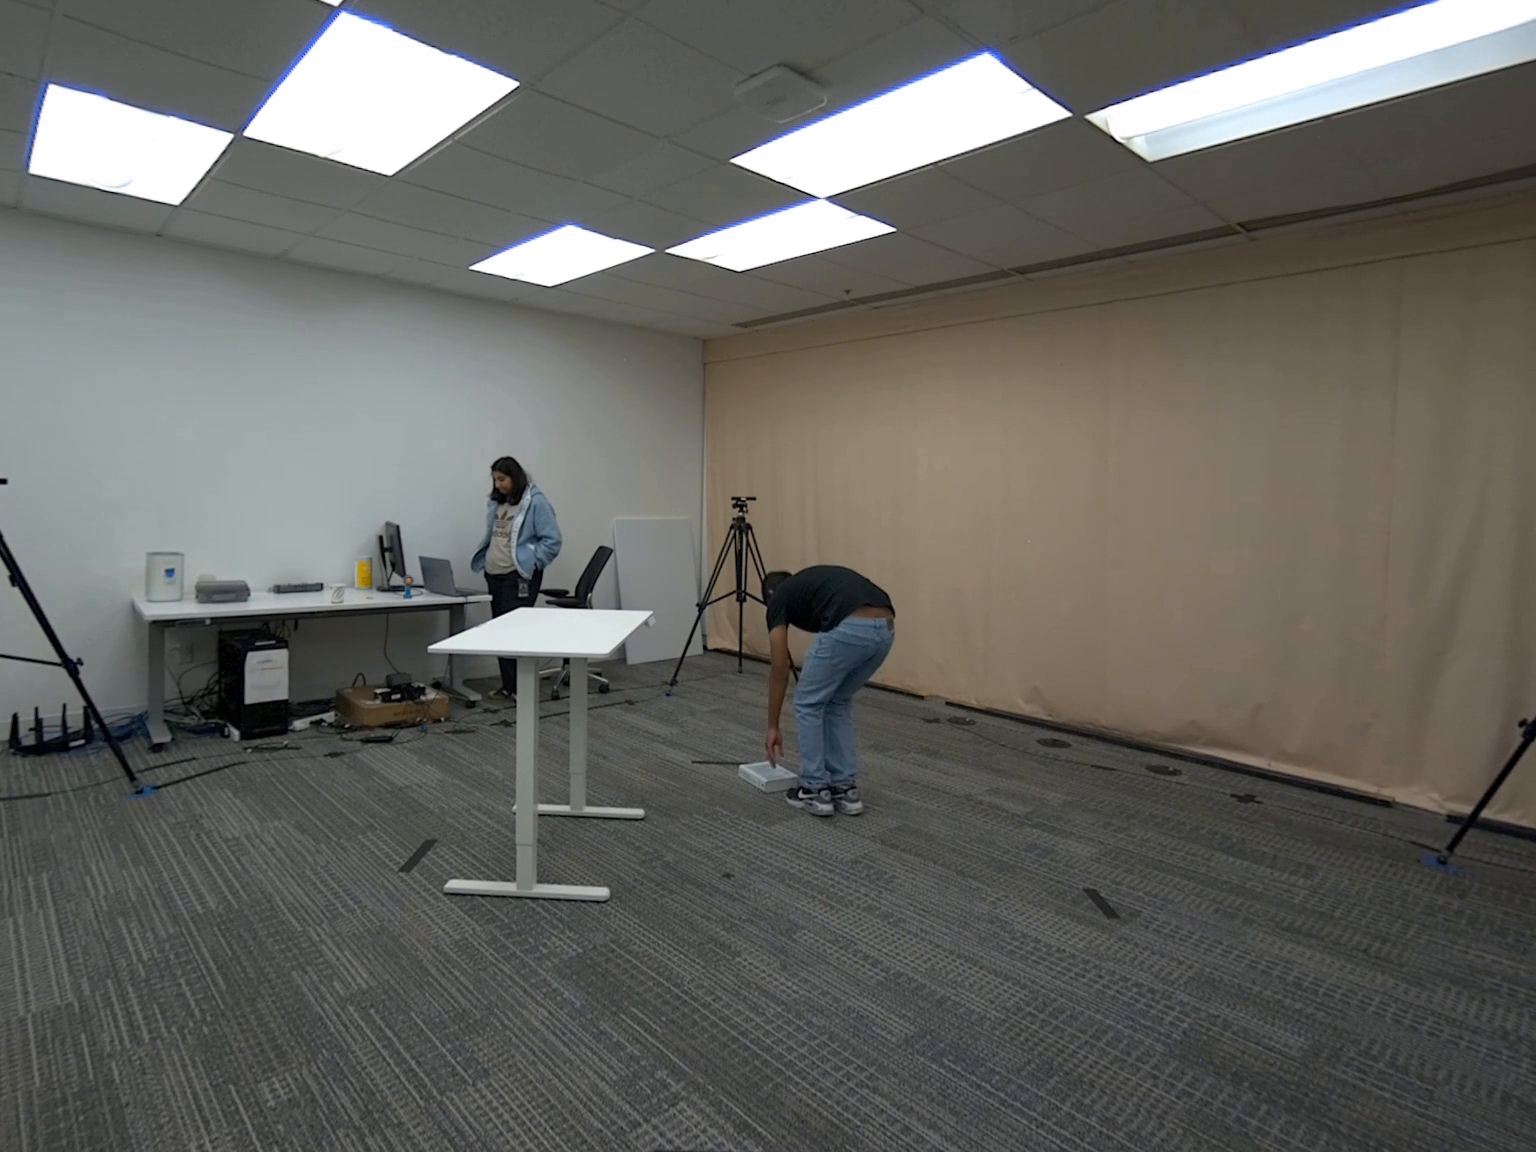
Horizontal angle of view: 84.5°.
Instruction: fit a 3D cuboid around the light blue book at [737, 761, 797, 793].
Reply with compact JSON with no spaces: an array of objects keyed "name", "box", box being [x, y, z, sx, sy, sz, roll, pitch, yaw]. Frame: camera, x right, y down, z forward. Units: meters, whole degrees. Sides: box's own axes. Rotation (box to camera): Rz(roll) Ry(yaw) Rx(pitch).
[{"name":"light blue book","box":[-0.008,0.986,4.162,0.187,0.059,0.267,0,5,-30]}]
